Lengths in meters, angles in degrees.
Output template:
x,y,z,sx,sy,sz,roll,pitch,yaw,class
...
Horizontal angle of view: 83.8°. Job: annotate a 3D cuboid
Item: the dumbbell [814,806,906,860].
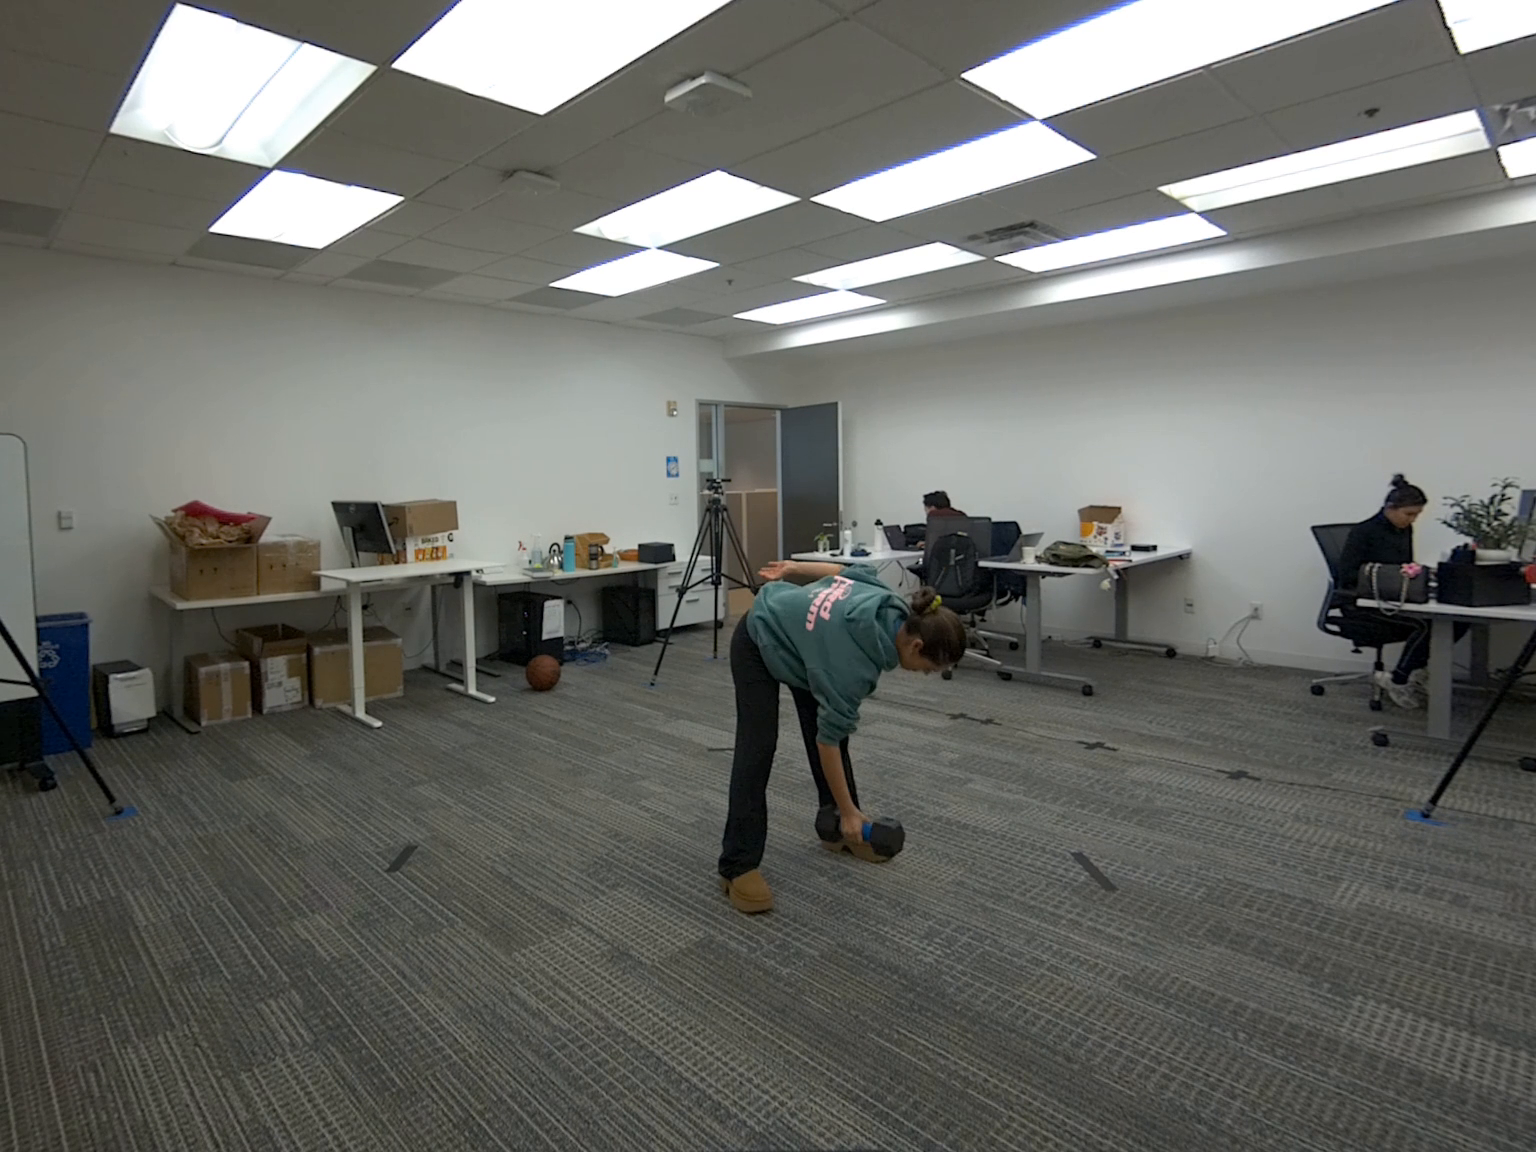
x,y,z,sx,sy,sz,roll,pitch,yaw,class
0.300,0.835,2.839,0.302,0.108,0.120,1,5,38,dumbbell
